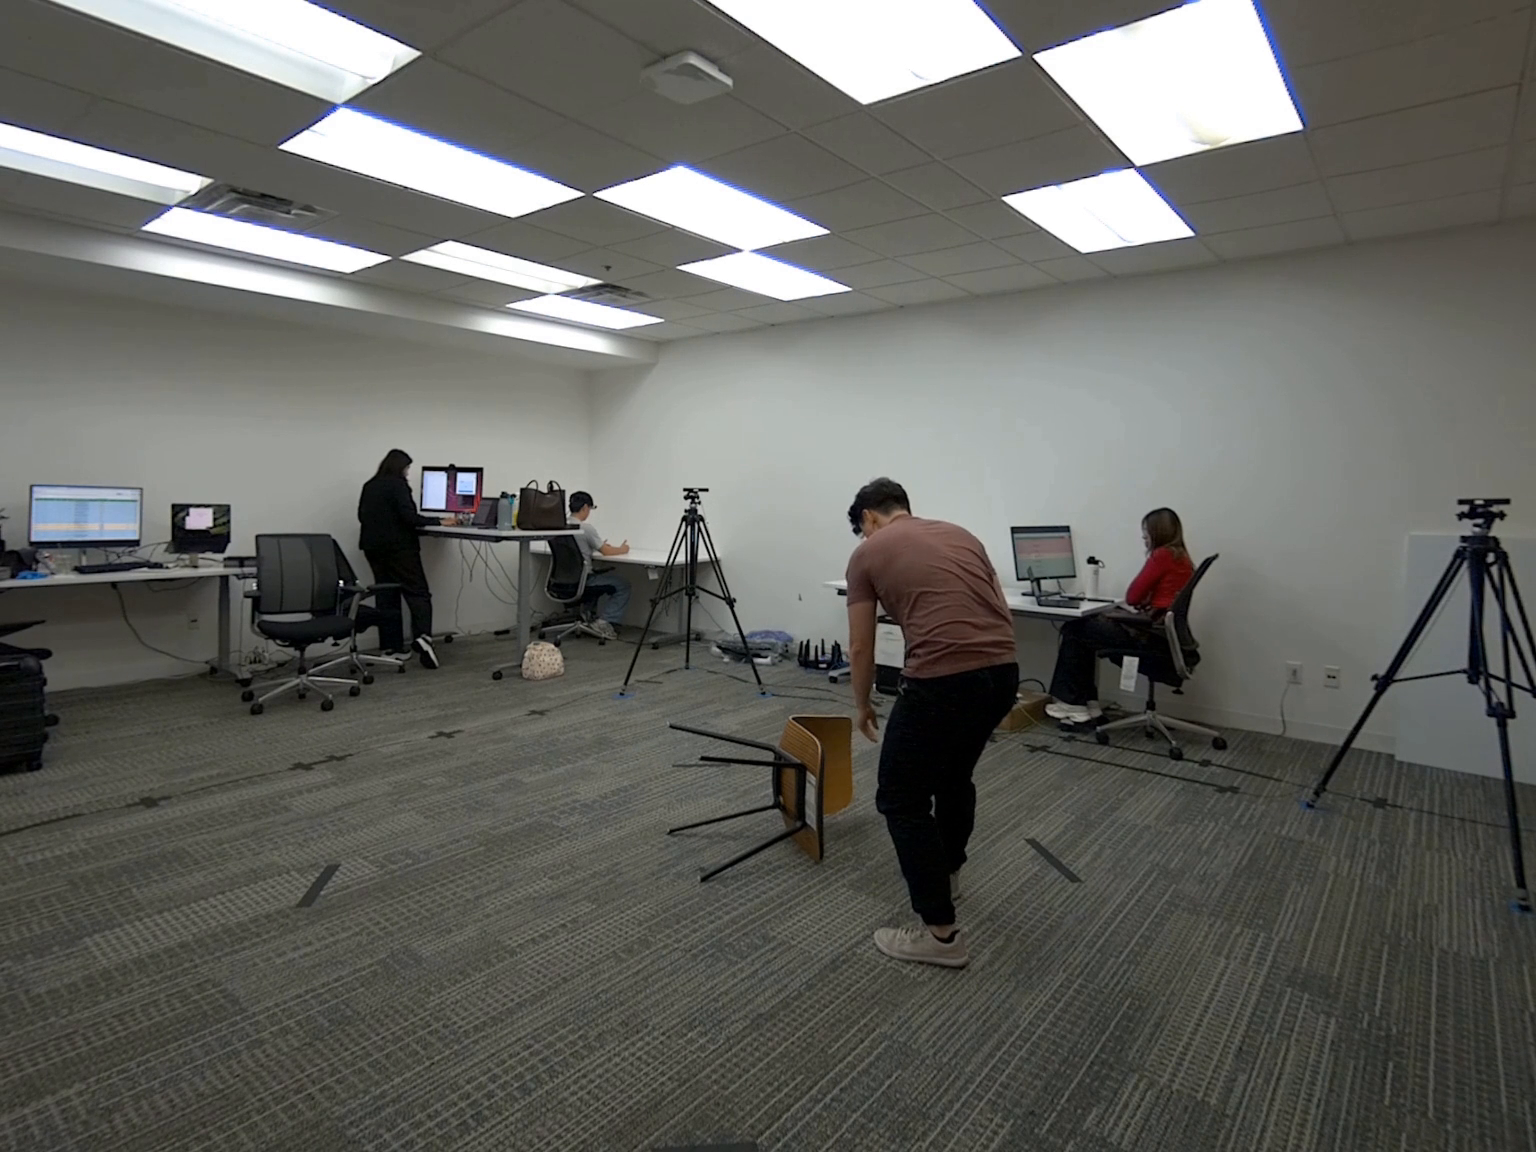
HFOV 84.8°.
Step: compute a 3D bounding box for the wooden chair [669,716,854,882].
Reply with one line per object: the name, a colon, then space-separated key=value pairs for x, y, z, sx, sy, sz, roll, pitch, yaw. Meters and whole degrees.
wooden chair: x=0.070 y=0.825 z=3.317 sx=0.858 sy=0.476 sz=0.537 roll=-1 pitch=5 yaw=-23
